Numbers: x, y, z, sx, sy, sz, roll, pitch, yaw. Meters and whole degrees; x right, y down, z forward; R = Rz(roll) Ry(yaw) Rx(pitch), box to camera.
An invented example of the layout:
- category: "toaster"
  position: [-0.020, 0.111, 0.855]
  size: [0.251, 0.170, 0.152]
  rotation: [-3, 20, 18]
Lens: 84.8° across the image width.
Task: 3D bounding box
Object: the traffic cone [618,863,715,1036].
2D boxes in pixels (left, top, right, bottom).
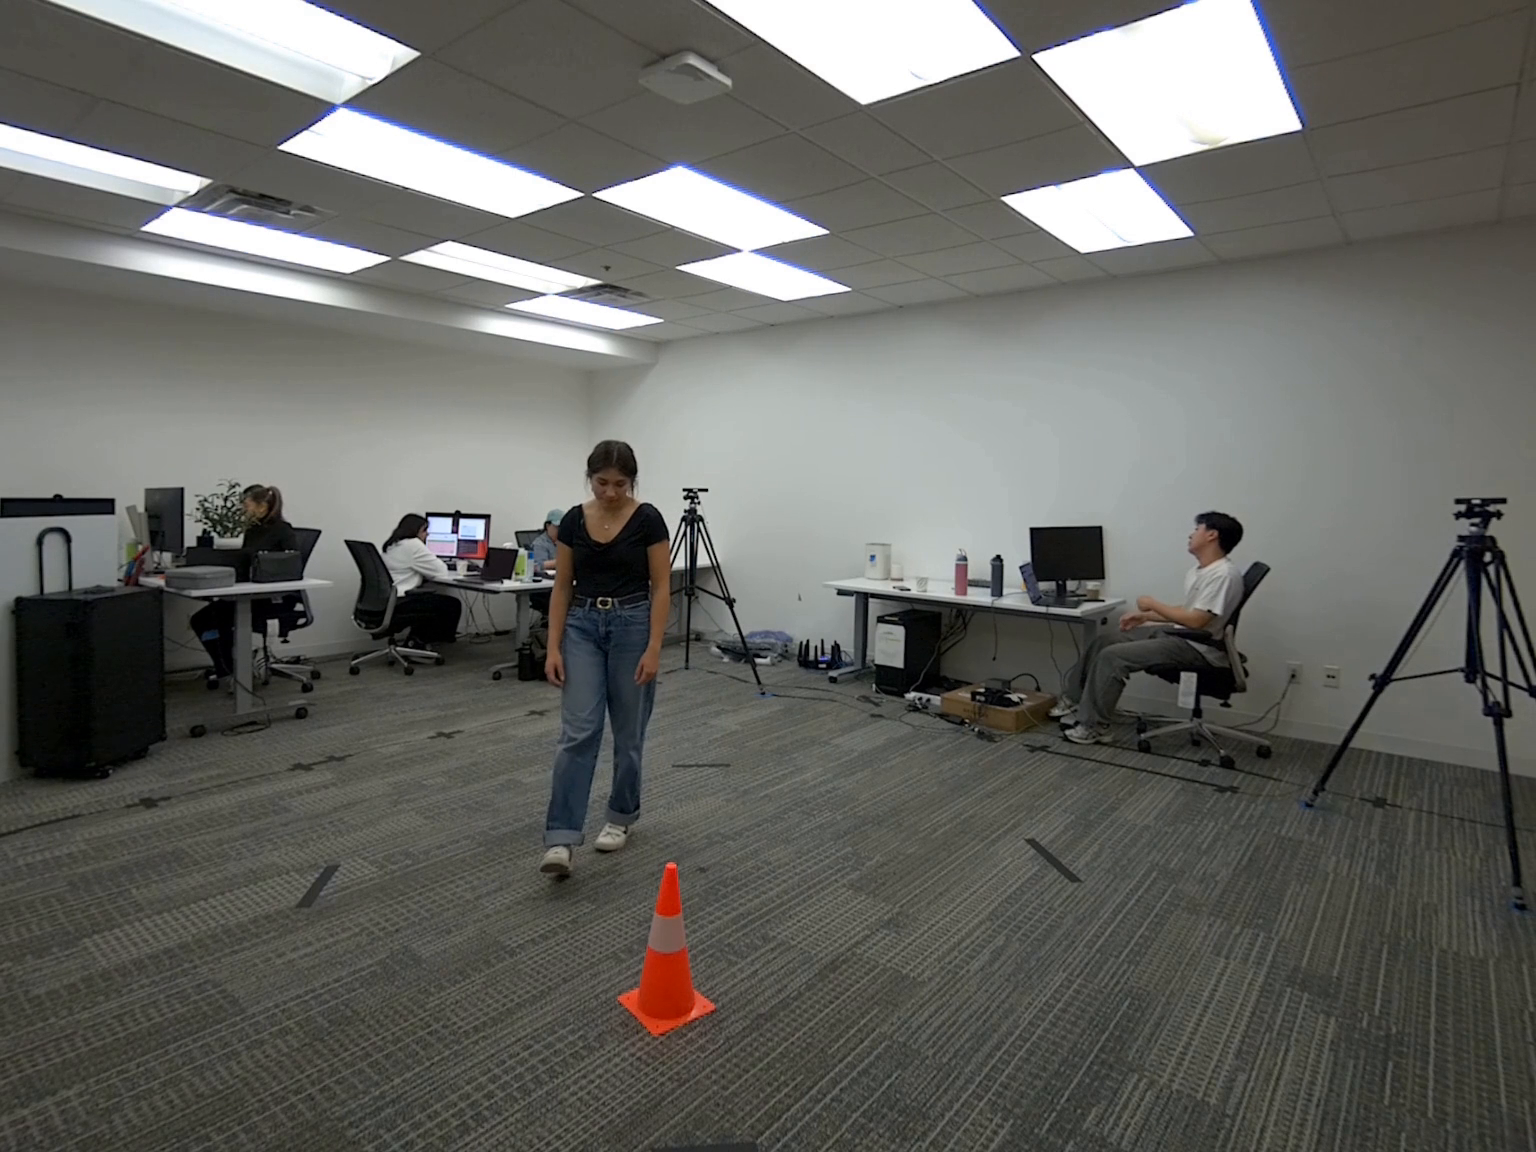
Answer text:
- category: "traffic cone"
  position: [-0.273, 0.961, 2.285]
  size: [0.199, 0.383, 0.210]
  rotation: [-2, 3, -36]
